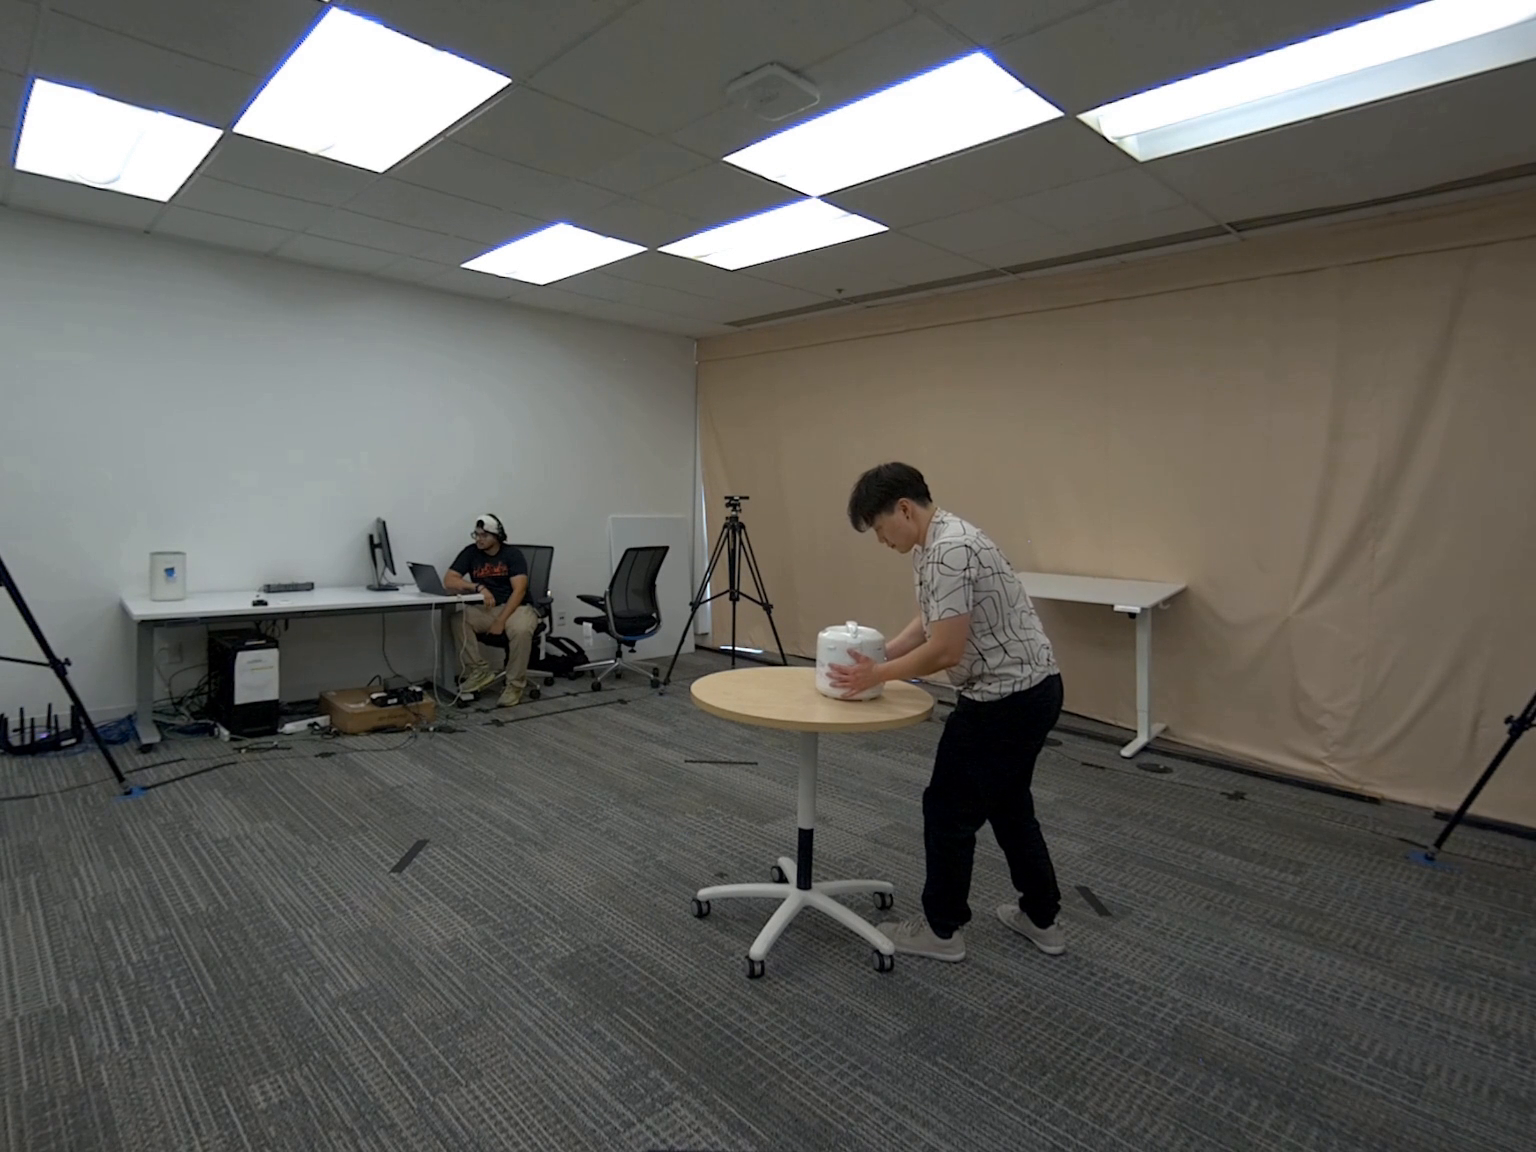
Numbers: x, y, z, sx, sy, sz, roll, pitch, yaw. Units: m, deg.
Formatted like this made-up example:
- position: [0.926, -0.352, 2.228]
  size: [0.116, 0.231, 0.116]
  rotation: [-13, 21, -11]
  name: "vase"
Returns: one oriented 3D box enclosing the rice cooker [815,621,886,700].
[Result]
- position: [0.256, 0.260, 2.641]
  size: [0.218, 0.232, 0.221]
  rotation: [2, 5, 2]
  name: "rice cooker"
